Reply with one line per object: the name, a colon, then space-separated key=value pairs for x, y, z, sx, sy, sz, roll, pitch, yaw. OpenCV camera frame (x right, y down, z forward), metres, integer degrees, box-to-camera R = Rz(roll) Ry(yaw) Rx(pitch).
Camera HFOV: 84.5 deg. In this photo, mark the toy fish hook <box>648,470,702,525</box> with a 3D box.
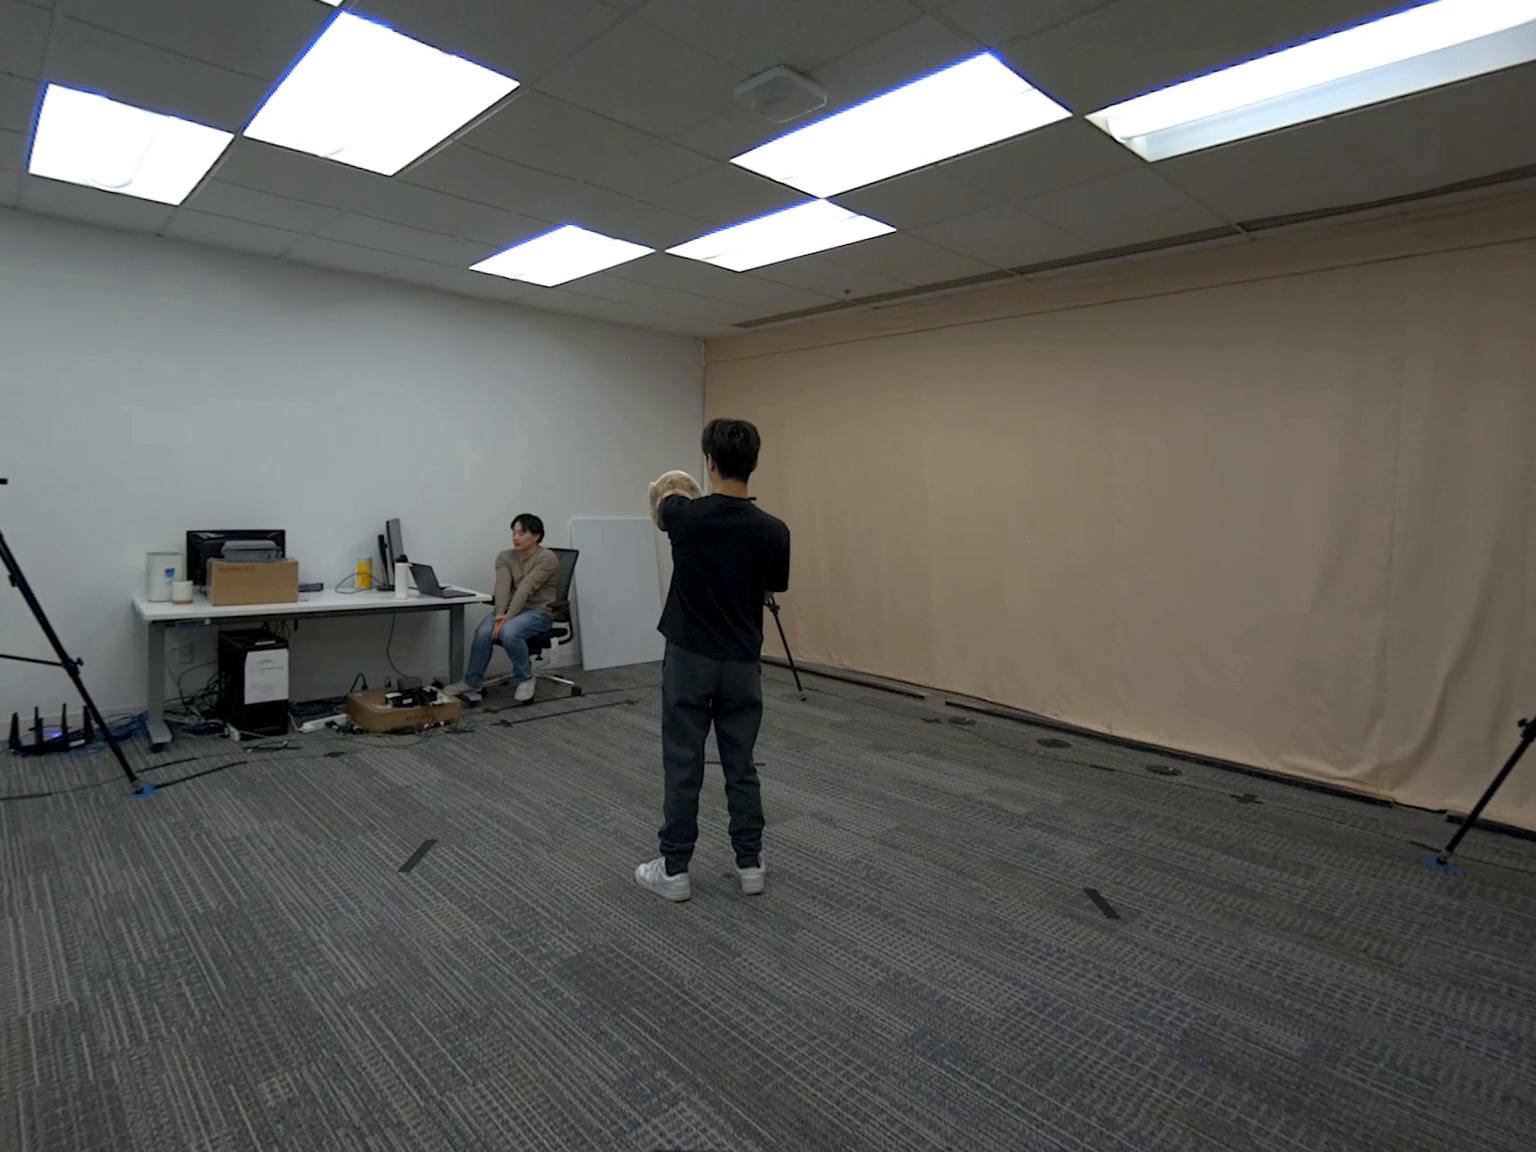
toy fish hook: x=-0.302 y=-0.173 z=3.314 sx=0.224 sy=0.498 sz=0.049 roll=-31 pitch=17 yaw=1
